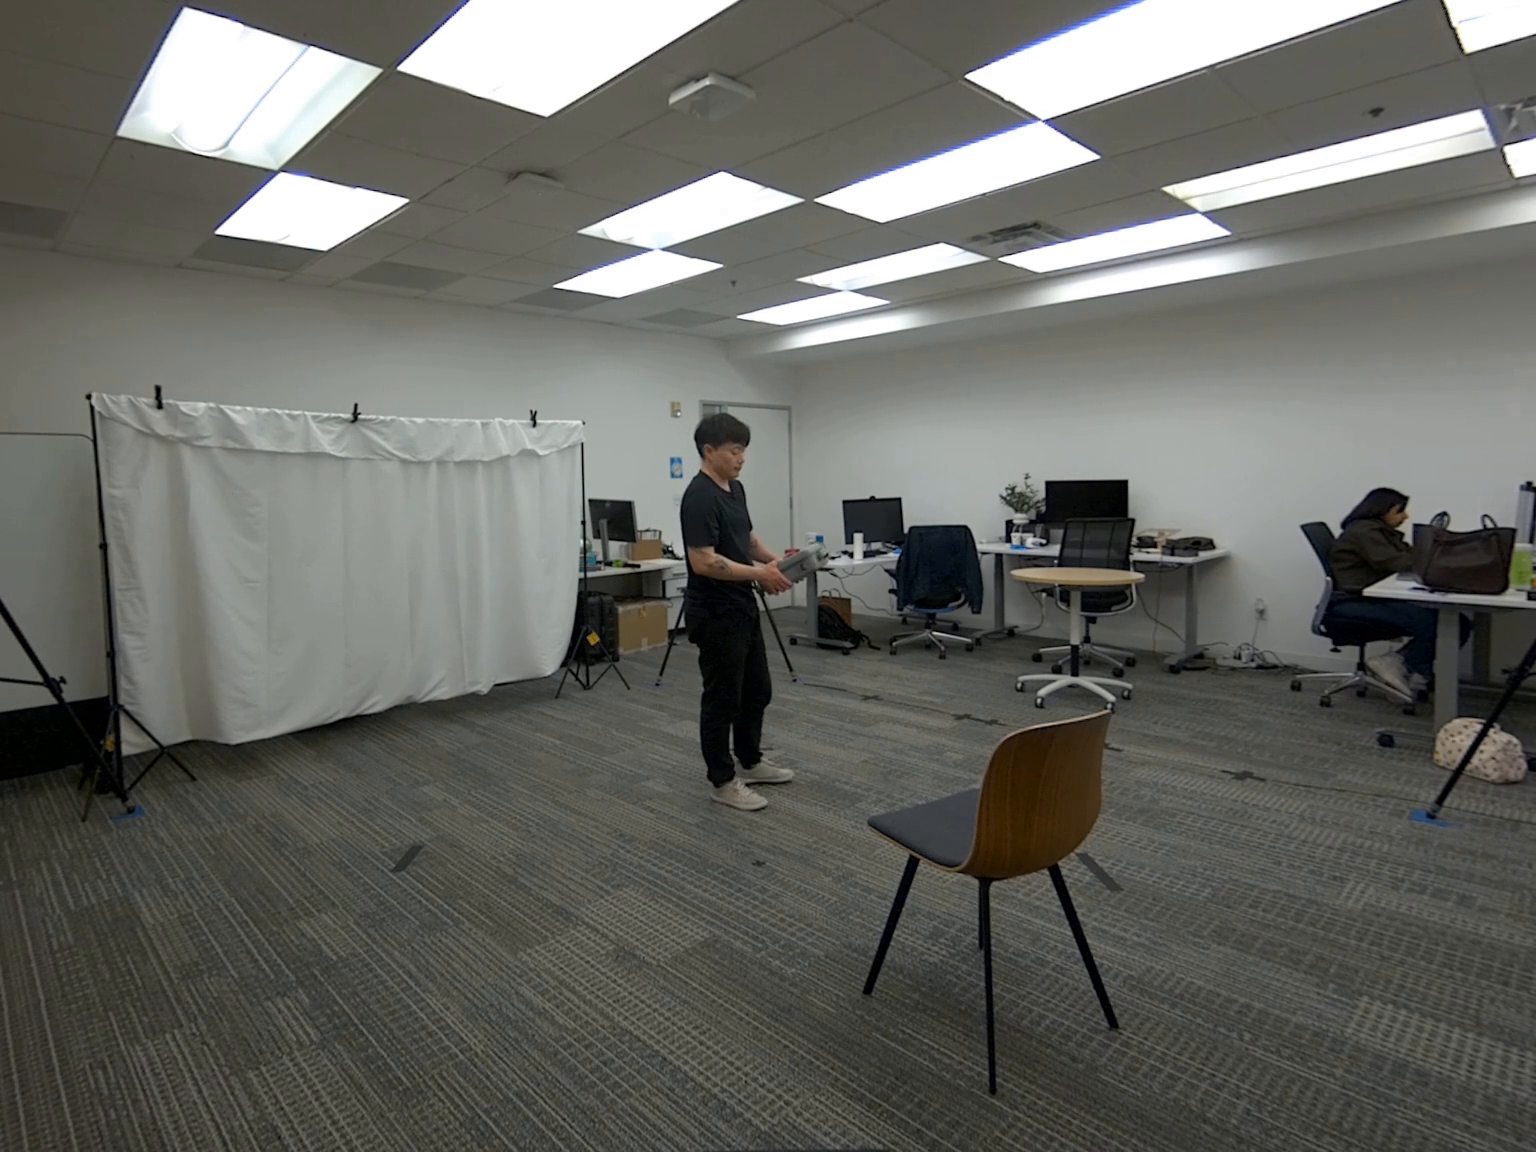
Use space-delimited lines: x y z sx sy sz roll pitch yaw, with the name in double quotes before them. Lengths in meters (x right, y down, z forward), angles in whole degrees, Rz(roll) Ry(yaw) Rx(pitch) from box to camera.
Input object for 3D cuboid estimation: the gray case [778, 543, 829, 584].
"gray case" 0.104 -0.037 3.556 0.262 0.105 0.254 -28 -1 19
